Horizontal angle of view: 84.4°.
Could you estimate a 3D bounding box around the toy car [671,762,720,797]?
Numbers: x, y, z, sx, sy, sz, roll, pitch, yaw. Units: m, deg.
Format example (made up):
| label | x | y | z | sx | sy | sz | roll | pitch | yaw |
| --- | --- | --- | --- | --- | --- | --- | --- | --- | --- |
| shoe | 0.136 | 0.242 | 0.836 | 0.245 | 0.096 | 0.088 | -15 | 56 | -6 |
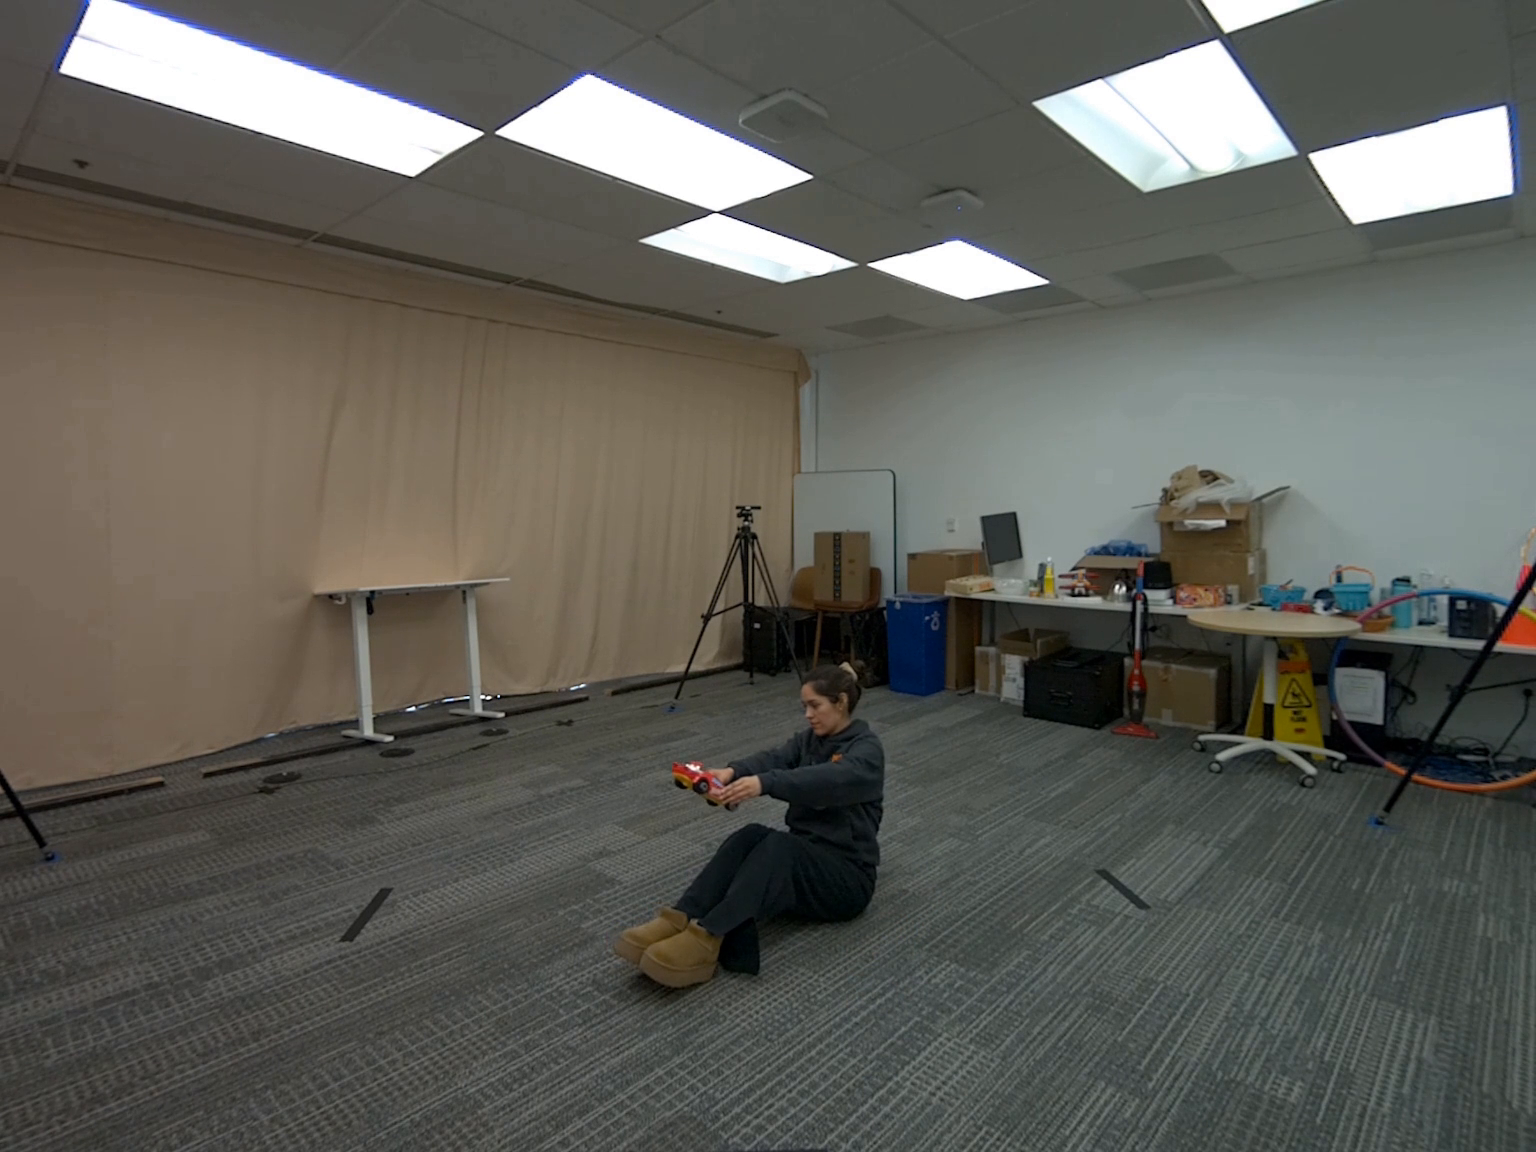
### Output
| label | x | y | z | sx | sy | sz | roll | pitch | yaw |
| --- | --- | --- | --- | --- | --- | --- | --- | --- | --- |
| toy car | -0.180 | 0.650 | 2.589 | 0.134 | 0.248 | 0.083 | -4 | 42 | 50 |
